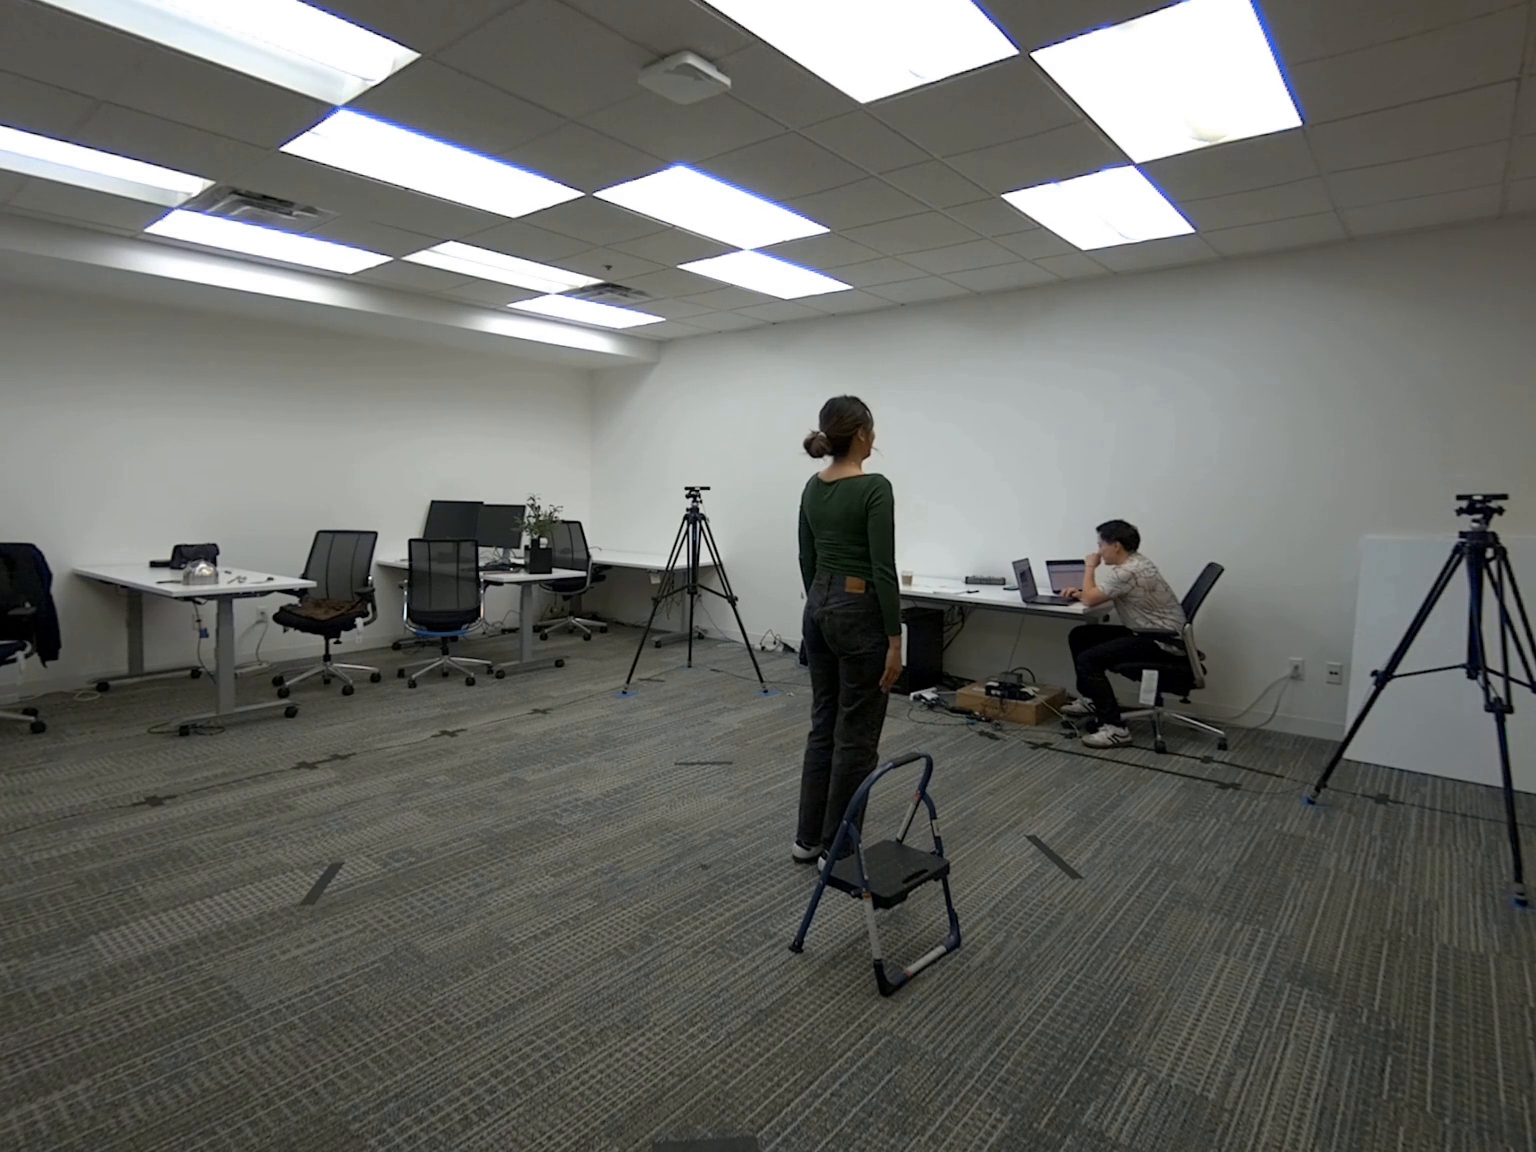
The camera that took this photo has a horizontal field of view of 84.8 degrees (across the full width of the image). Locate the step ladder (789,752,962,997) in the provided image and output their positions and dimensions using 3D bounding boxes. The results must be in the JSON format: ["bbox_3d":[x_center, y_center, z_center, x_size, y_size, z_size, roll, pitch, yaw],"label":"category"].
[{"bbox_3d":[0.328,0.825,2.581,0.361,0.604,0.418,5,6,43],"label":"step ladder"}]
